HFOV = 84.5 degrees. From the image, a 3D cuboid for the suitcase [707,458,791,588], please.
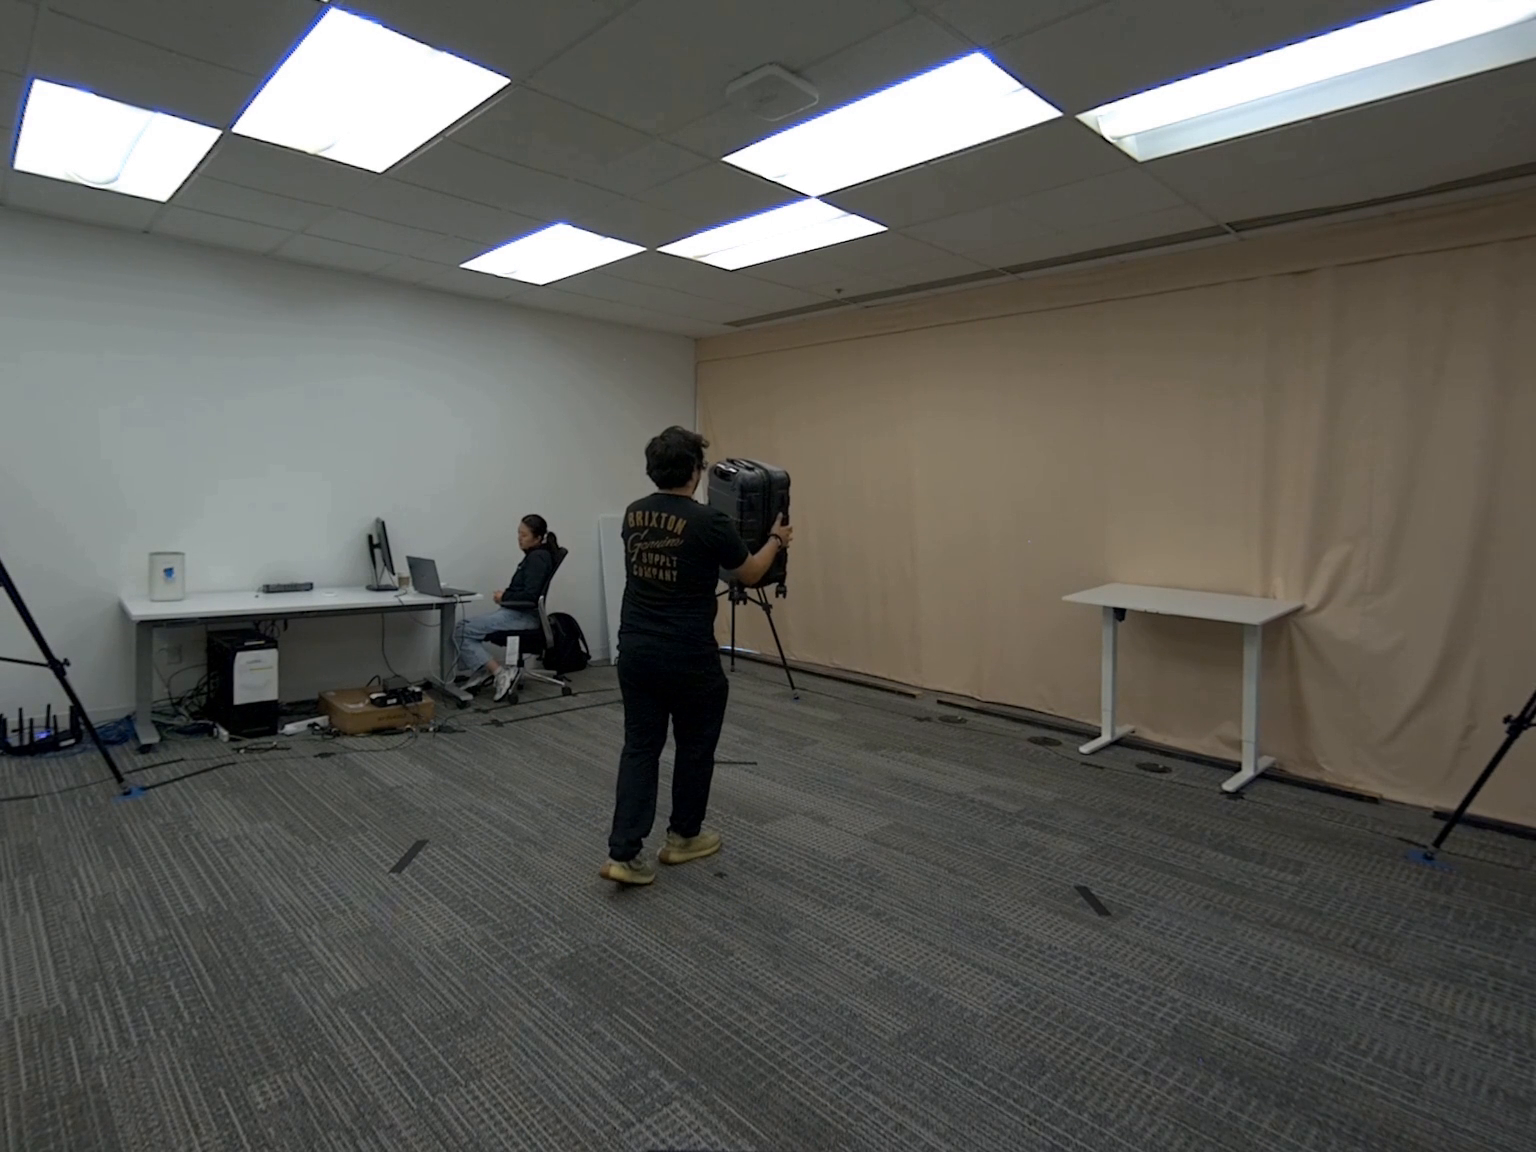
[{"bbox_3d":[-0.094,-0.211,3.511,0.244,0.544,0.386,-6,16,-28],"label":"suitcase"}]
